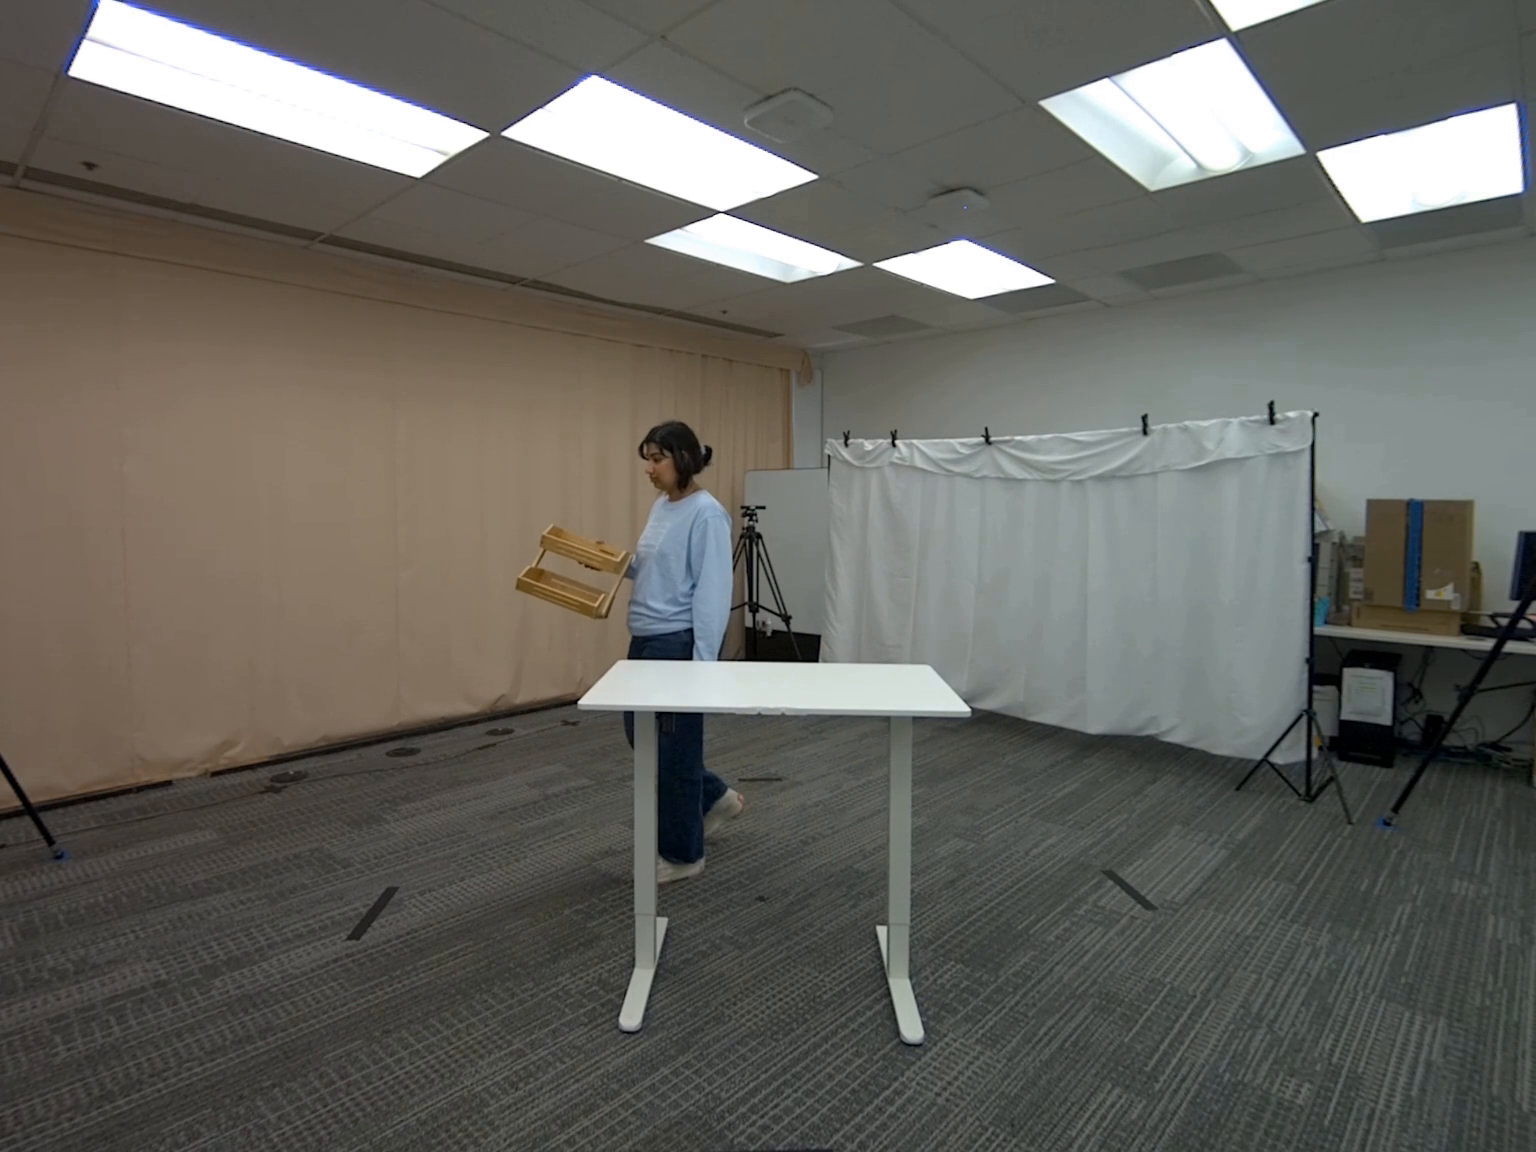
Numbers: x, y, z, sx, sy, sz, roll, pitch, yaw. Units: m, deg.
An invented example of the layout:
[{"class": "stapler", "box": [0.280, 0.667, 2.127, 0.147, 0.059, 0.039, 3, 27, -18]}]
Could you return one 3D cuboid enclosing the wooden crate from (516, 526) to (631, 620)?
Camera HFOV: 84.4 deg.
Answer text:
[{"class": "wooden crate", "box": [-0.705, -0.019, 3.099, 0.326, 0.273, 0.301, 20, -3, 2]}]
